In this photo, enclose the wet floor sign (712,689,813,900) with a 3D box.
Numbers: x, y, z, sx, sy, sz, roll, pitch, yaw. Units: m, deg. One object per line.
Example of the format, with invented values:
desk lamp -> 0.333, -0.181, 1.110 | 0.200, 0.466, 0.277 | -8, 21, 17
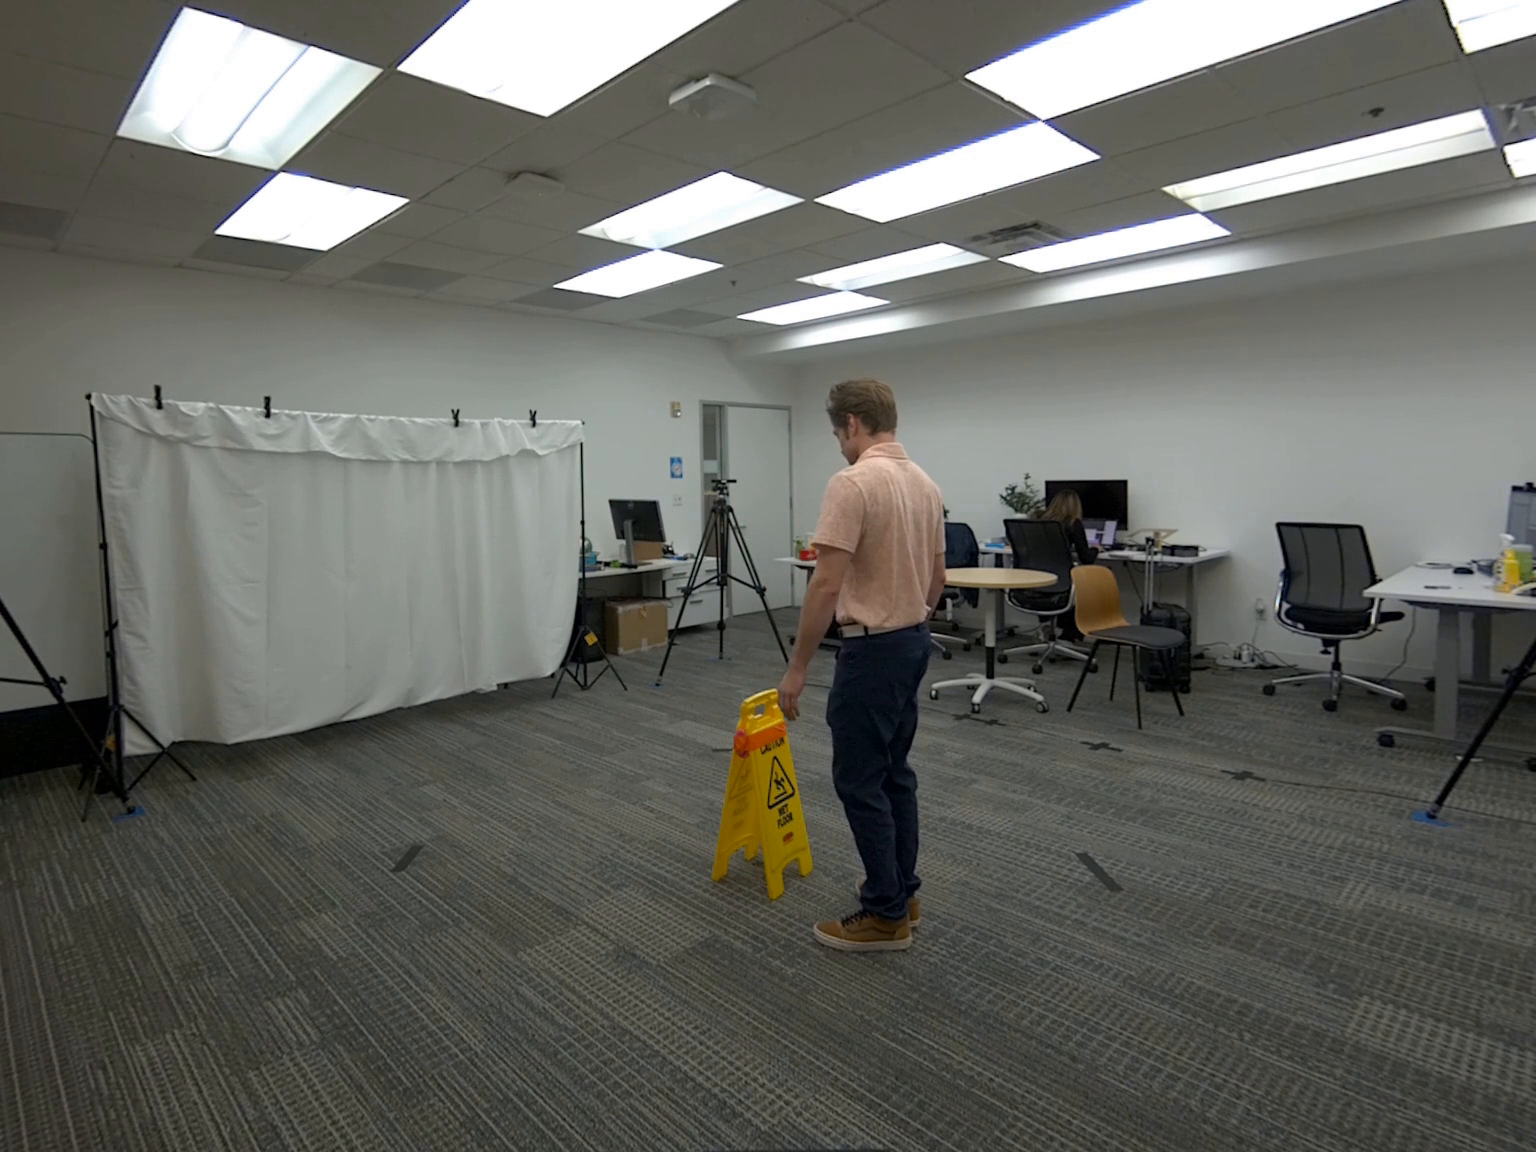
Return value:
wet floor sign -> -0.023, 0.734, 2.995 | 0.298, 0.644, 0.275 | 1, 4, 34
